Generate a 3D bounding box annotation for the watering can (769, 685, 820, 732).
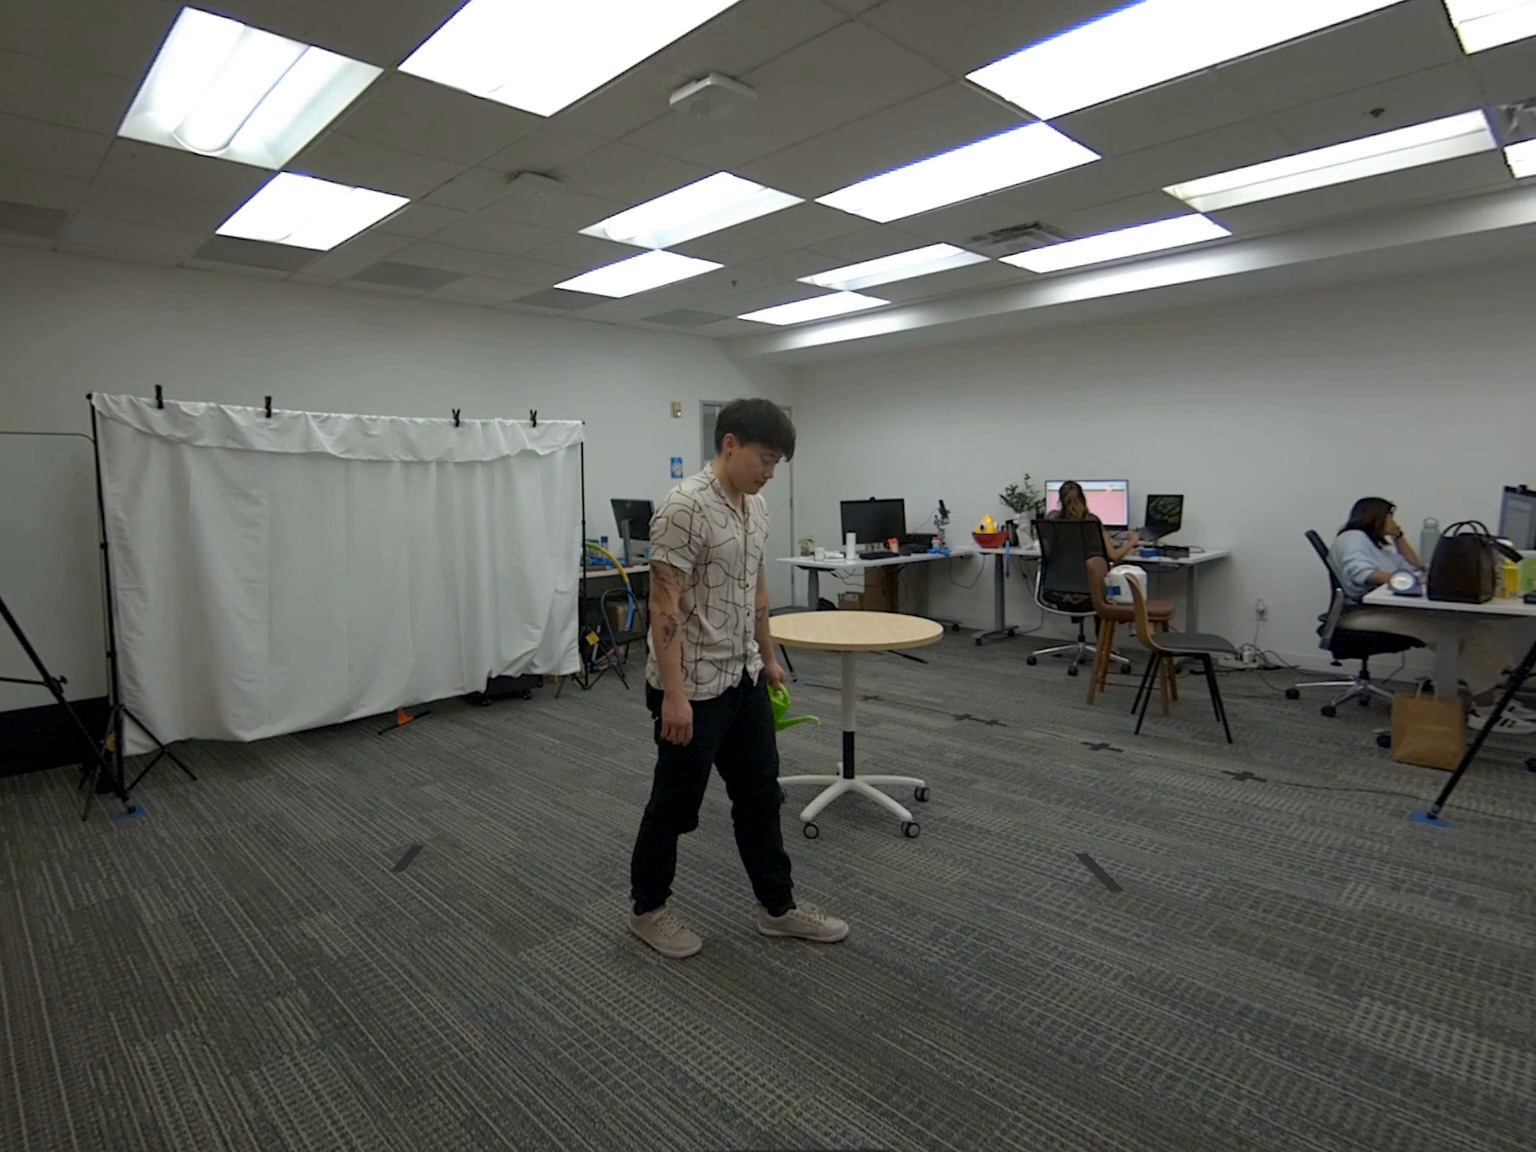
[{"bbox_3d":[0.049,0.441,2.772,0.095,0.175,0.289,7,28,-41],"label":"watering can"}]
